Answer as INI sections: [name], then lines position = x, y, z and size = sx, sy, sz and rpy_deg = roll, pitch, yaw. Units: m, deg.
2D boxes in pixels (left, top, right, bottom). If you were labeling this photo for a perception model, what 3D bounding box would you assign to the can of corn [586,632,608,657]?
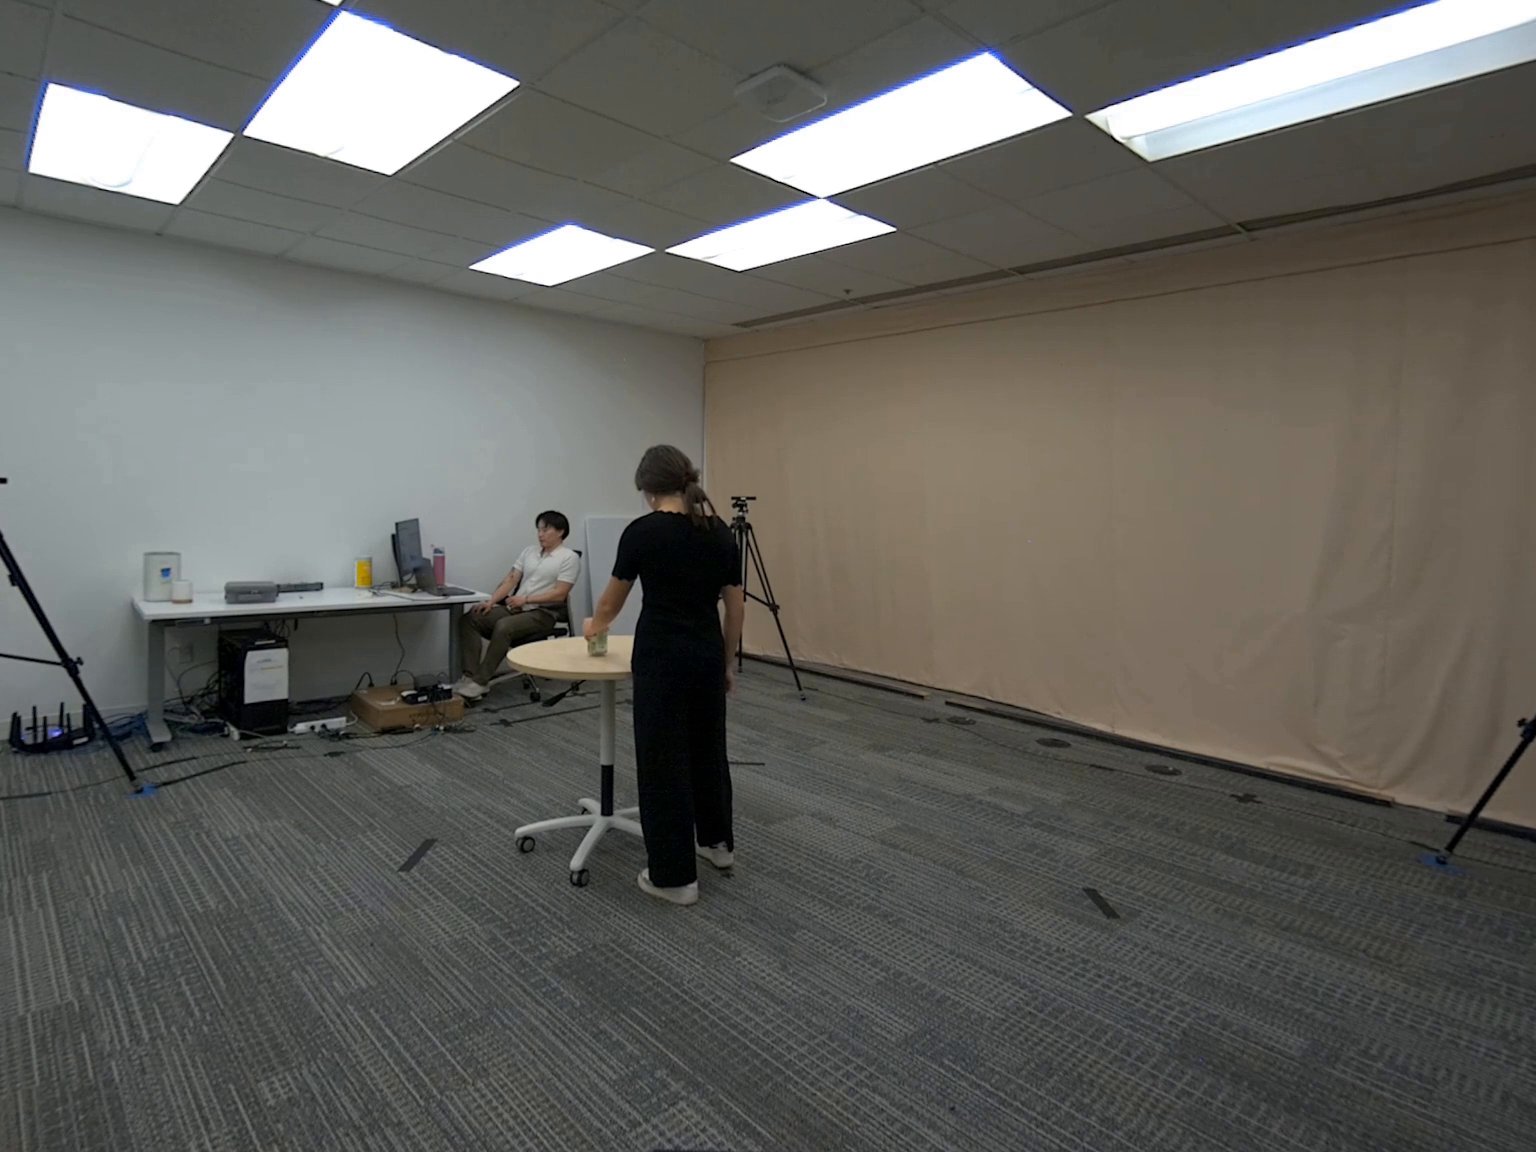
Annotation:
[can of corn]
position = -0.661, 0.234, 3.200
size = 0.074, 0.111, 0.074
rpy_deg = 2, 3, -1
